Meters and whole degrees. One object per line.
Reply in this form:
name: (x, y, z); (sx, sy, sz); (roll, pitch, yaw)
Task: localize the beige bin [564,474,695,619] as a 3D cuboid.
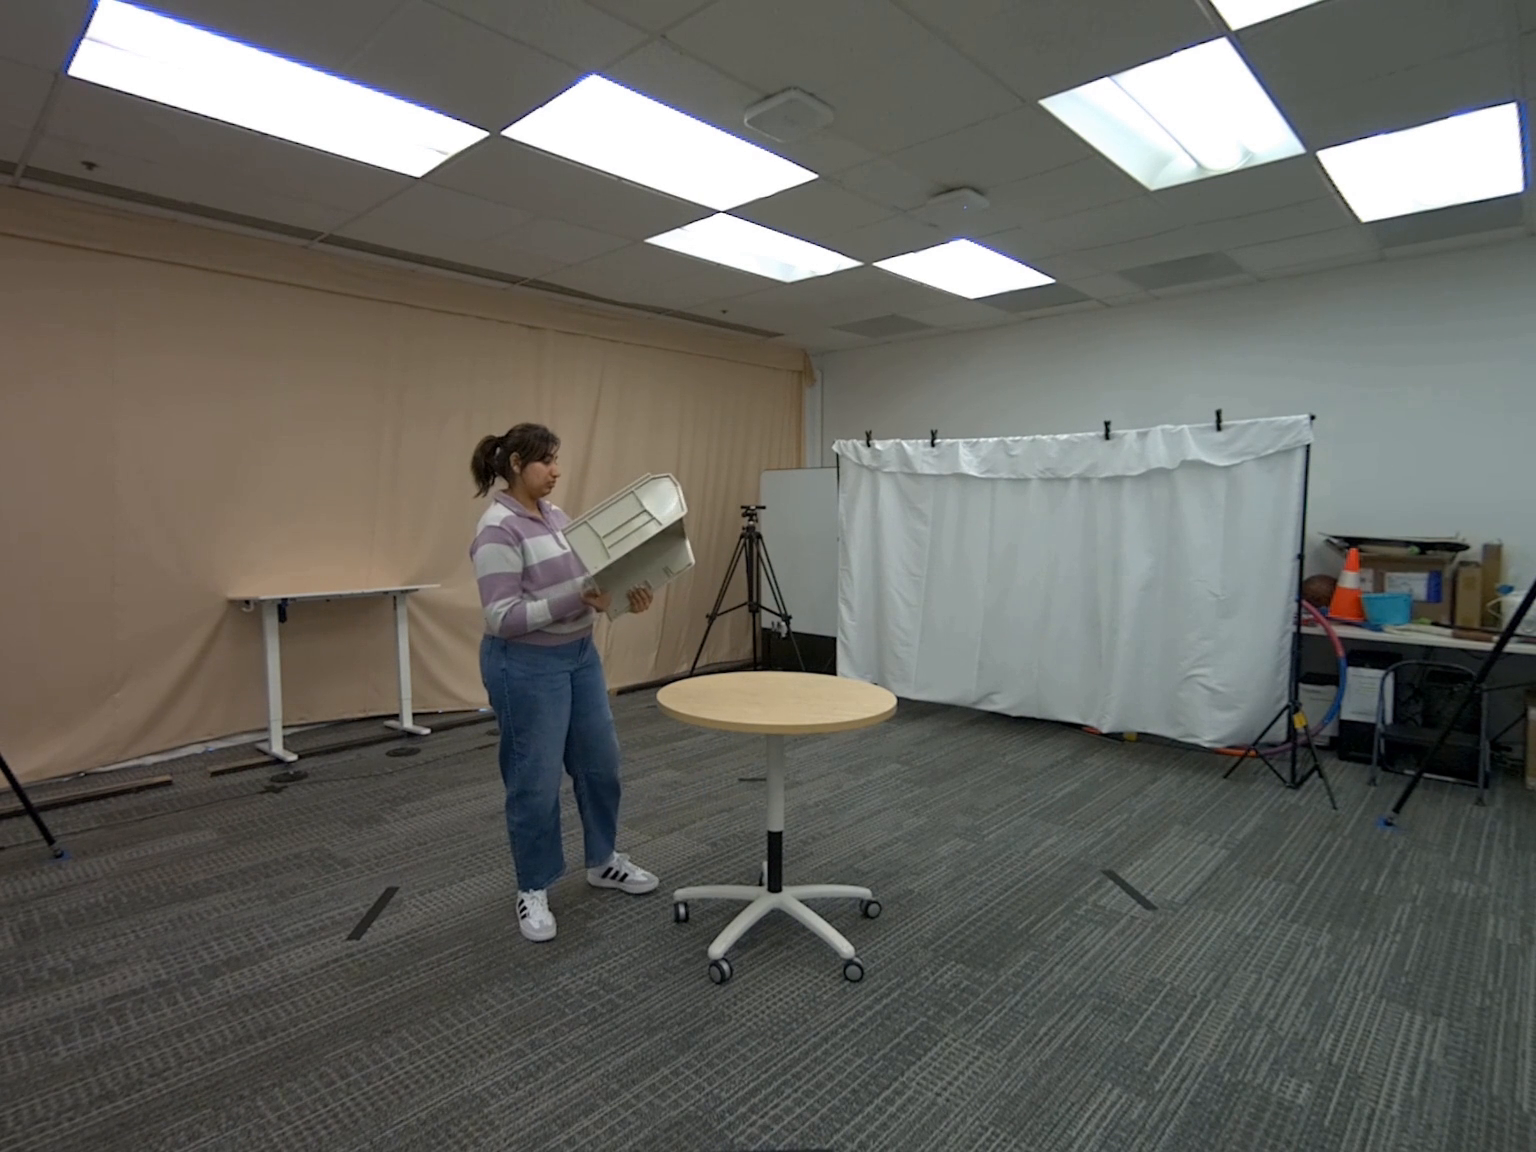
beige bin: (-0.415, -0.093, 2.637); (0.375, 0.193, 0.417); (-34, -17, -13)
